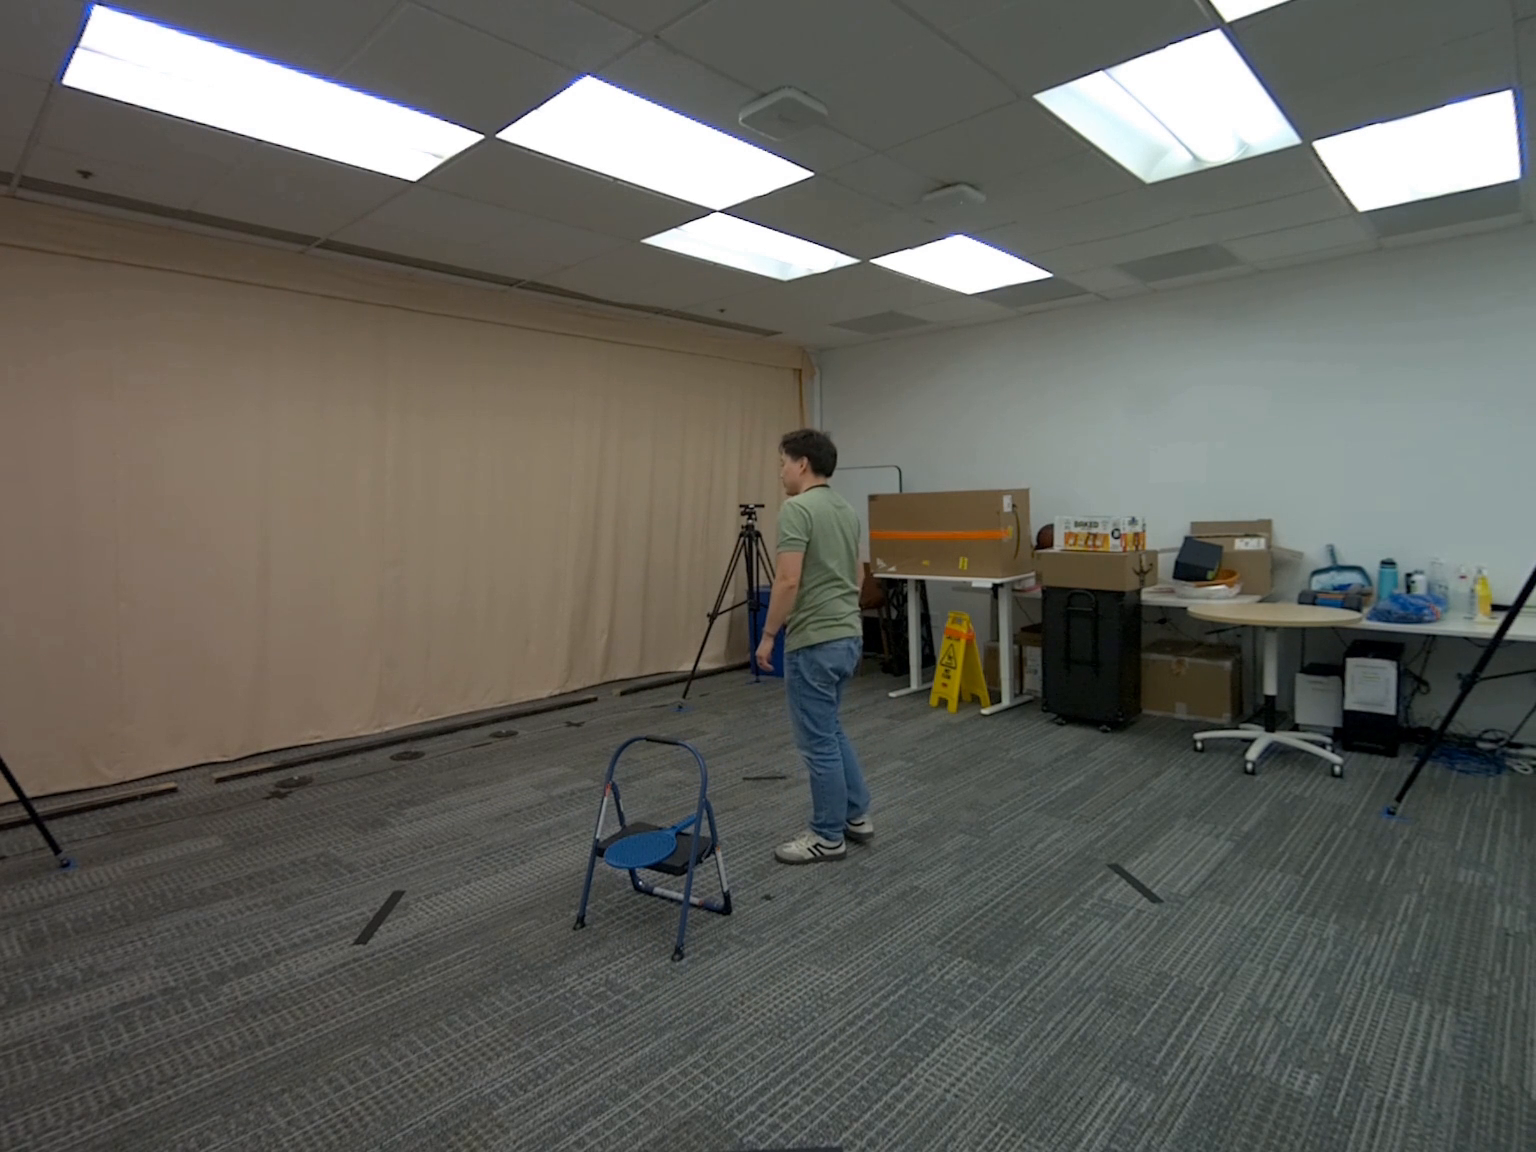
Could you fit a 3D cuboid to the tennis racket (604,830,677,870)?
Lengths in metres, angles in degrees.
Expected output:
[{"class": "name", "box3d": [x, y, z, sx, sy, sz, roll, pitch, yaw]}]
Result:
[{"class": "tennis racket", "box3d": [-0.383, 0.893, 2.828, 0.220, 0.031, 0.422, 1, 8, 31]}]
